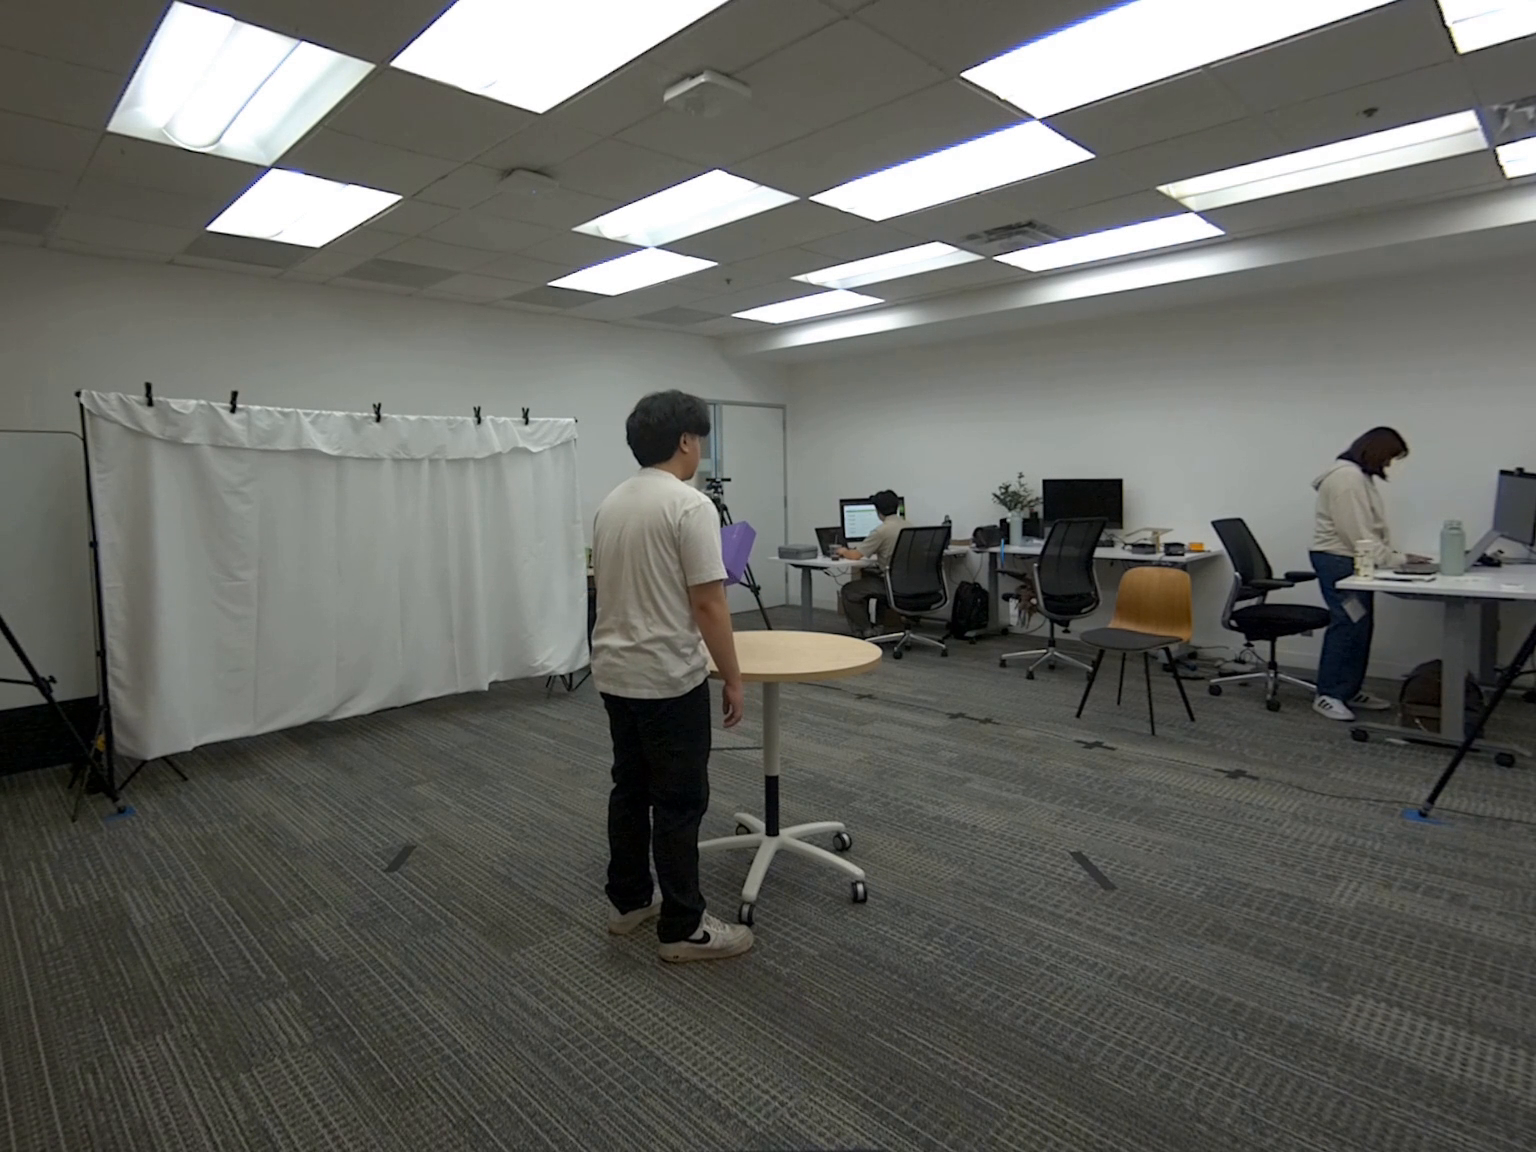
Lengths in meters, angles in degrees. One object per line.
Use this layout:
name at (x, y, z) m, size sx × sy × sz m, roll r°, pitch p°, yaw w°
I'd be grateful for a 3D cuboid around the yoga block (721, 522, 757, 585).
yoga block at (-0.137, -0.069, 2.886) m, size 0.152 × 0.233 × 0.074 m, roll -16°, pitch -50°, yaw 37°
